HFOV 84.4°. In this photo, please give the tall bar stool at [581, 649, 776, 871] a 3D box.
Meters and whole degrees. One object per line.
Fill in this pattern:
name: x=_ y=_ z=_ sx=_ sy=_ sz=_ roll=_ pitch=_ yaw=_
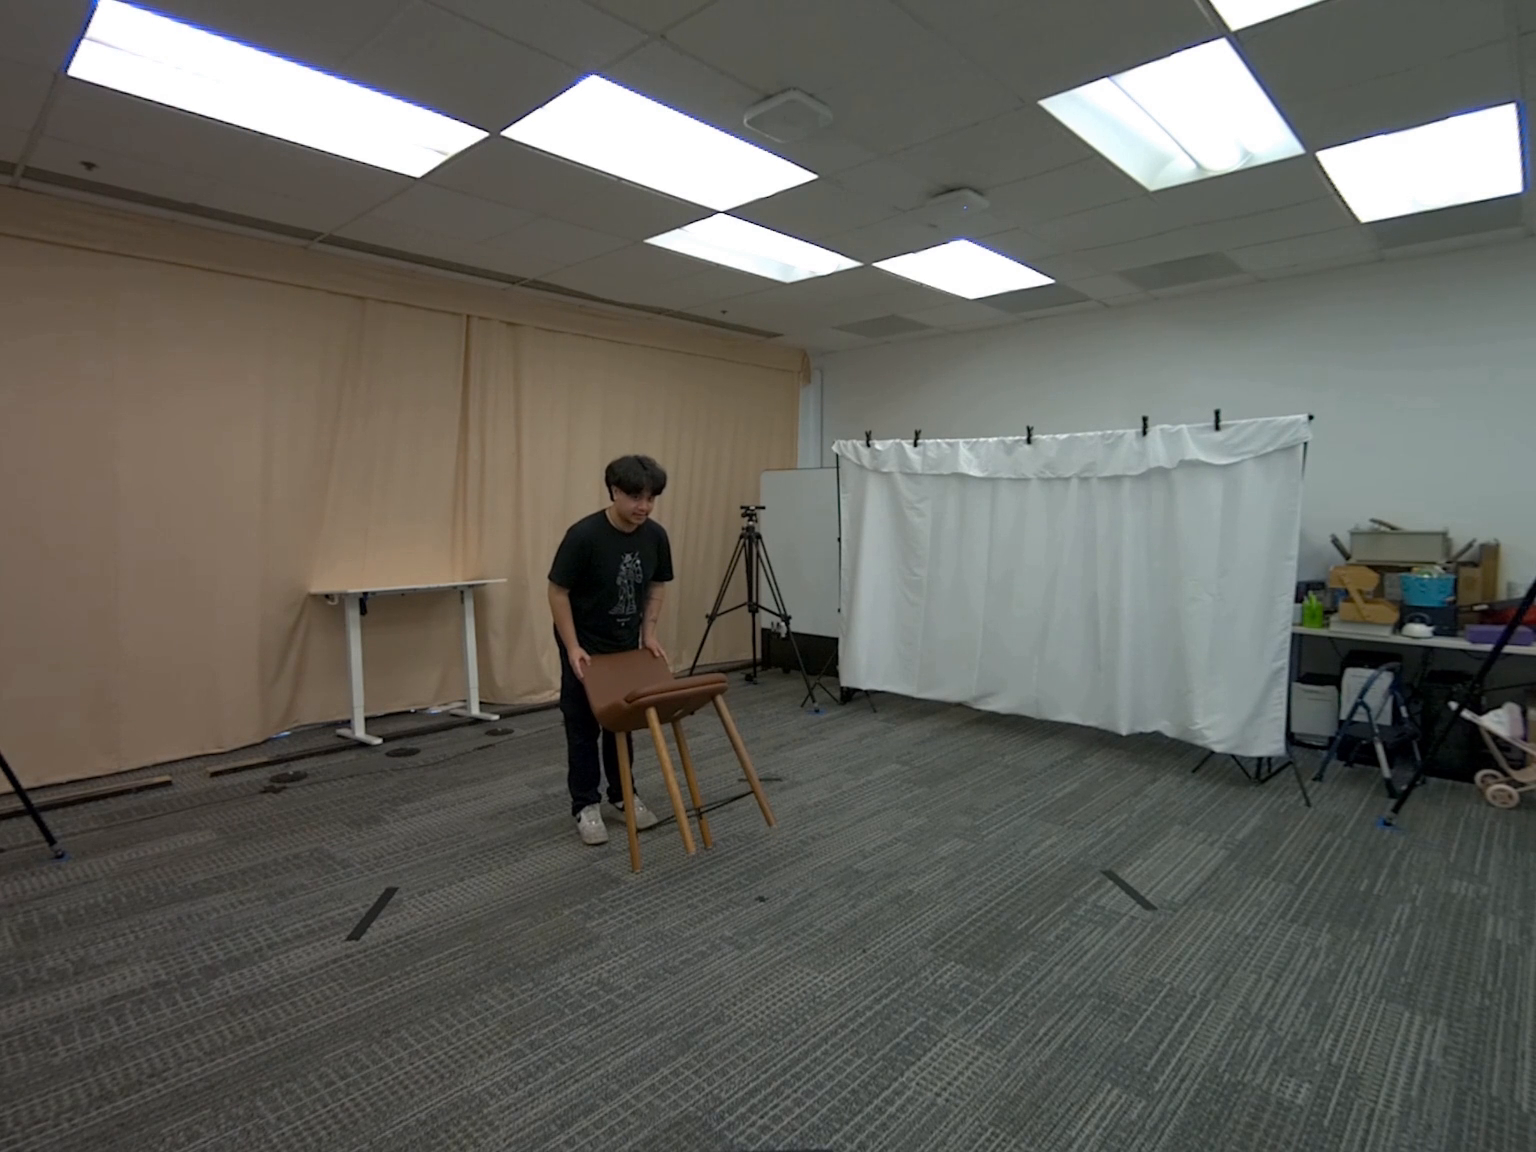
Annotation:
tall bar stool: x=-0.386 y=0.634 z=3.309 sx=0.443 sy=0.906 sz=0.473 roll=-4 pitch=-25 yaw=-39
